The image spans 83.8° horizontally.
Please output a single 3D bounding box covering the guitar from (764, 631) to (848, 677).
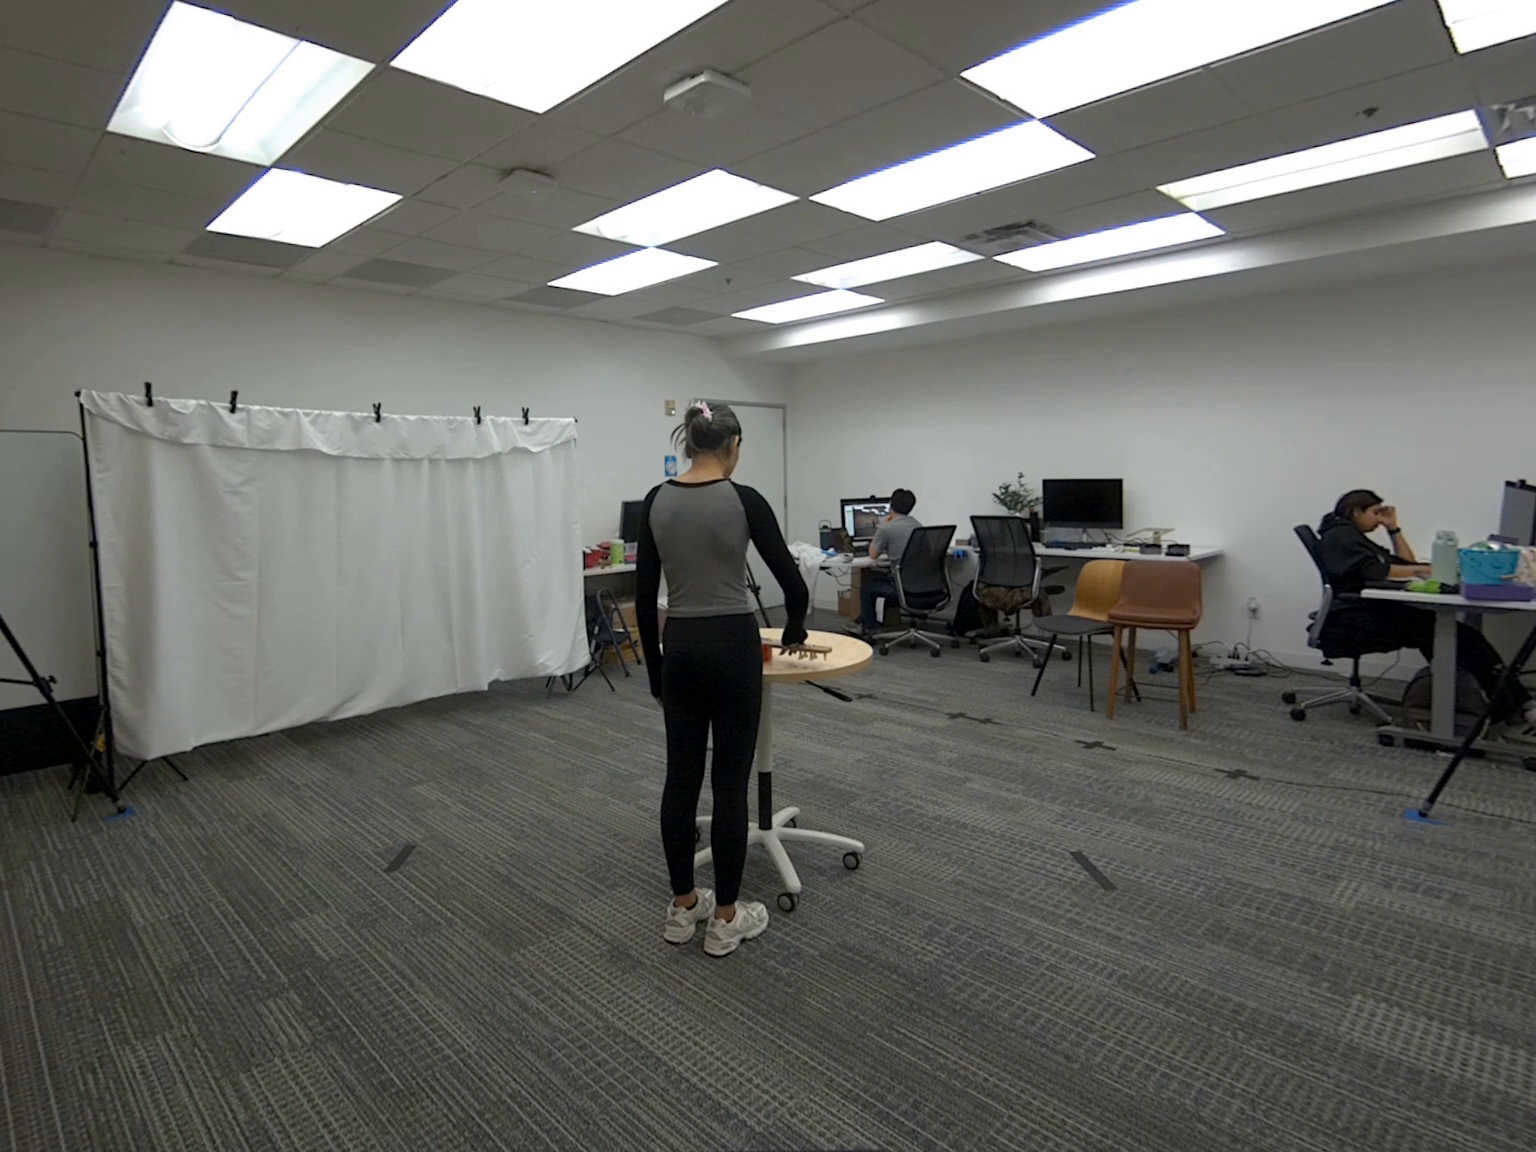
[{"bbox_3d":[-0.027,0.249,2.827,0.513,0.070,0.188,6,9,40],"label":"guitar"}]
